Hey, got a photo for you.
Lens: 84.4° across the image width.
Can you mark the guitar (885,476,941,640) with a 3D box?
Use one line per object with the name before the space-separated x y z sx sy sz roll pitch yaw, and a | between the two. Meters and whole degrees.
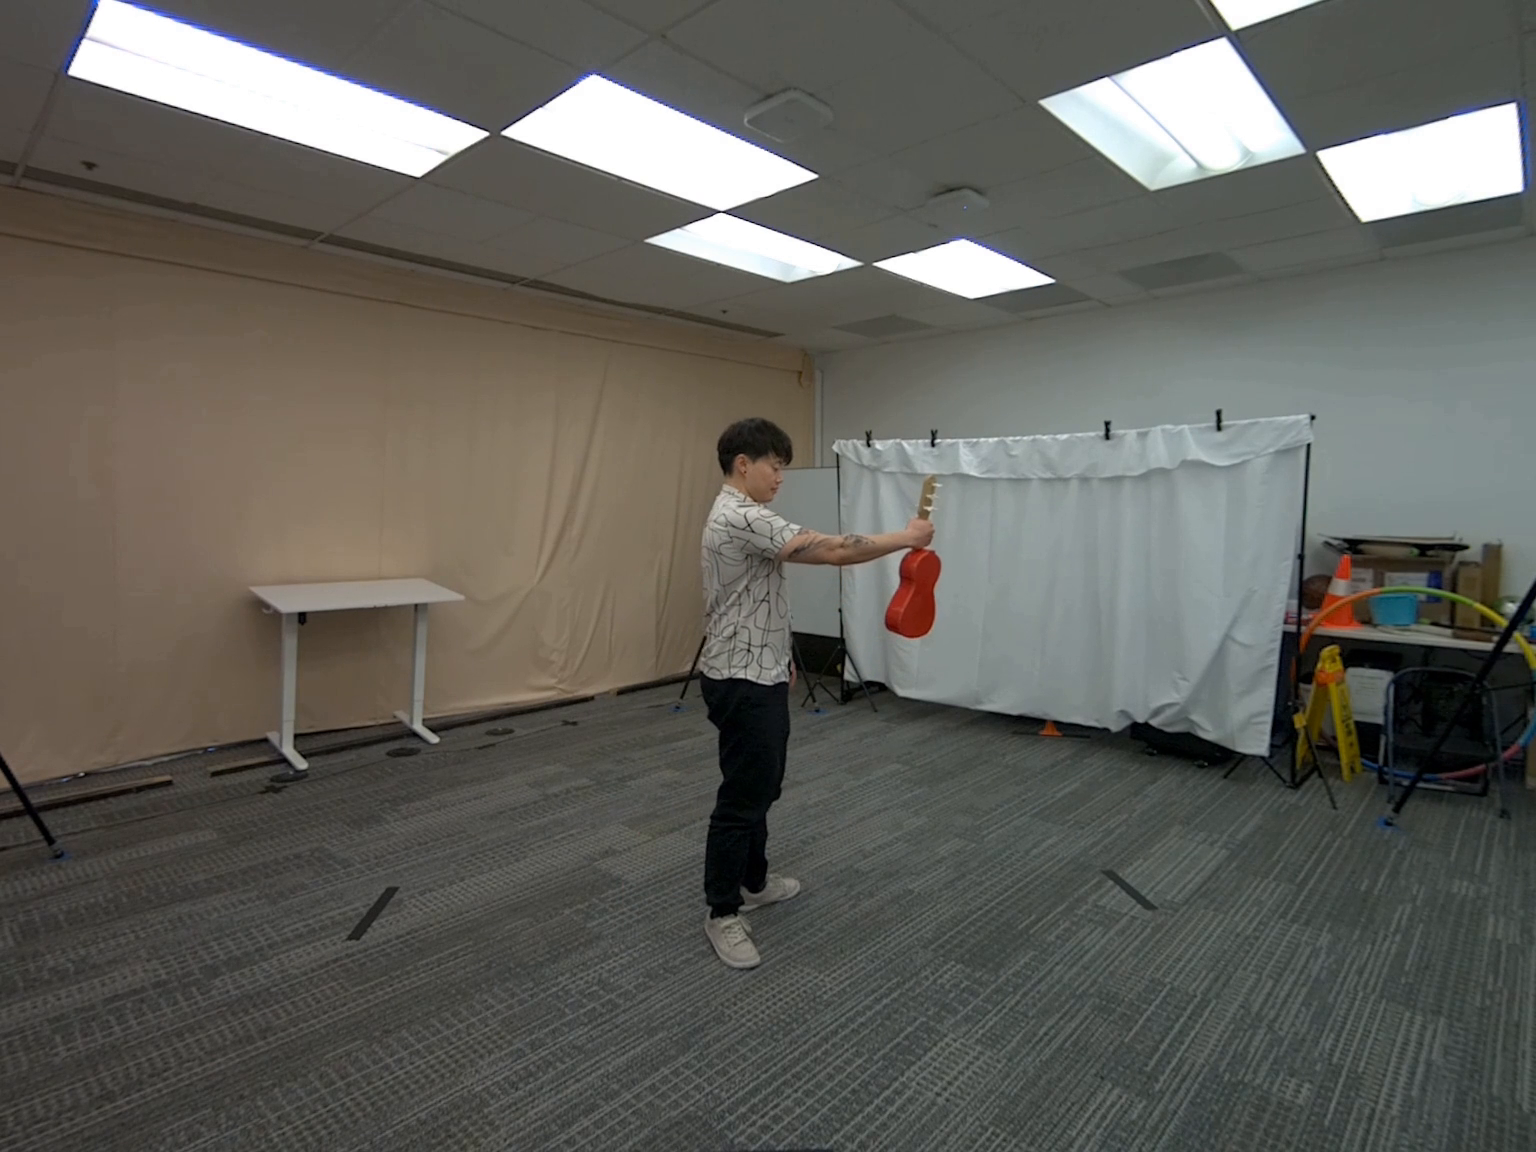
guitar | 0.461 -0.053 2.581 0.073 0.495 0.187 15 16 42
